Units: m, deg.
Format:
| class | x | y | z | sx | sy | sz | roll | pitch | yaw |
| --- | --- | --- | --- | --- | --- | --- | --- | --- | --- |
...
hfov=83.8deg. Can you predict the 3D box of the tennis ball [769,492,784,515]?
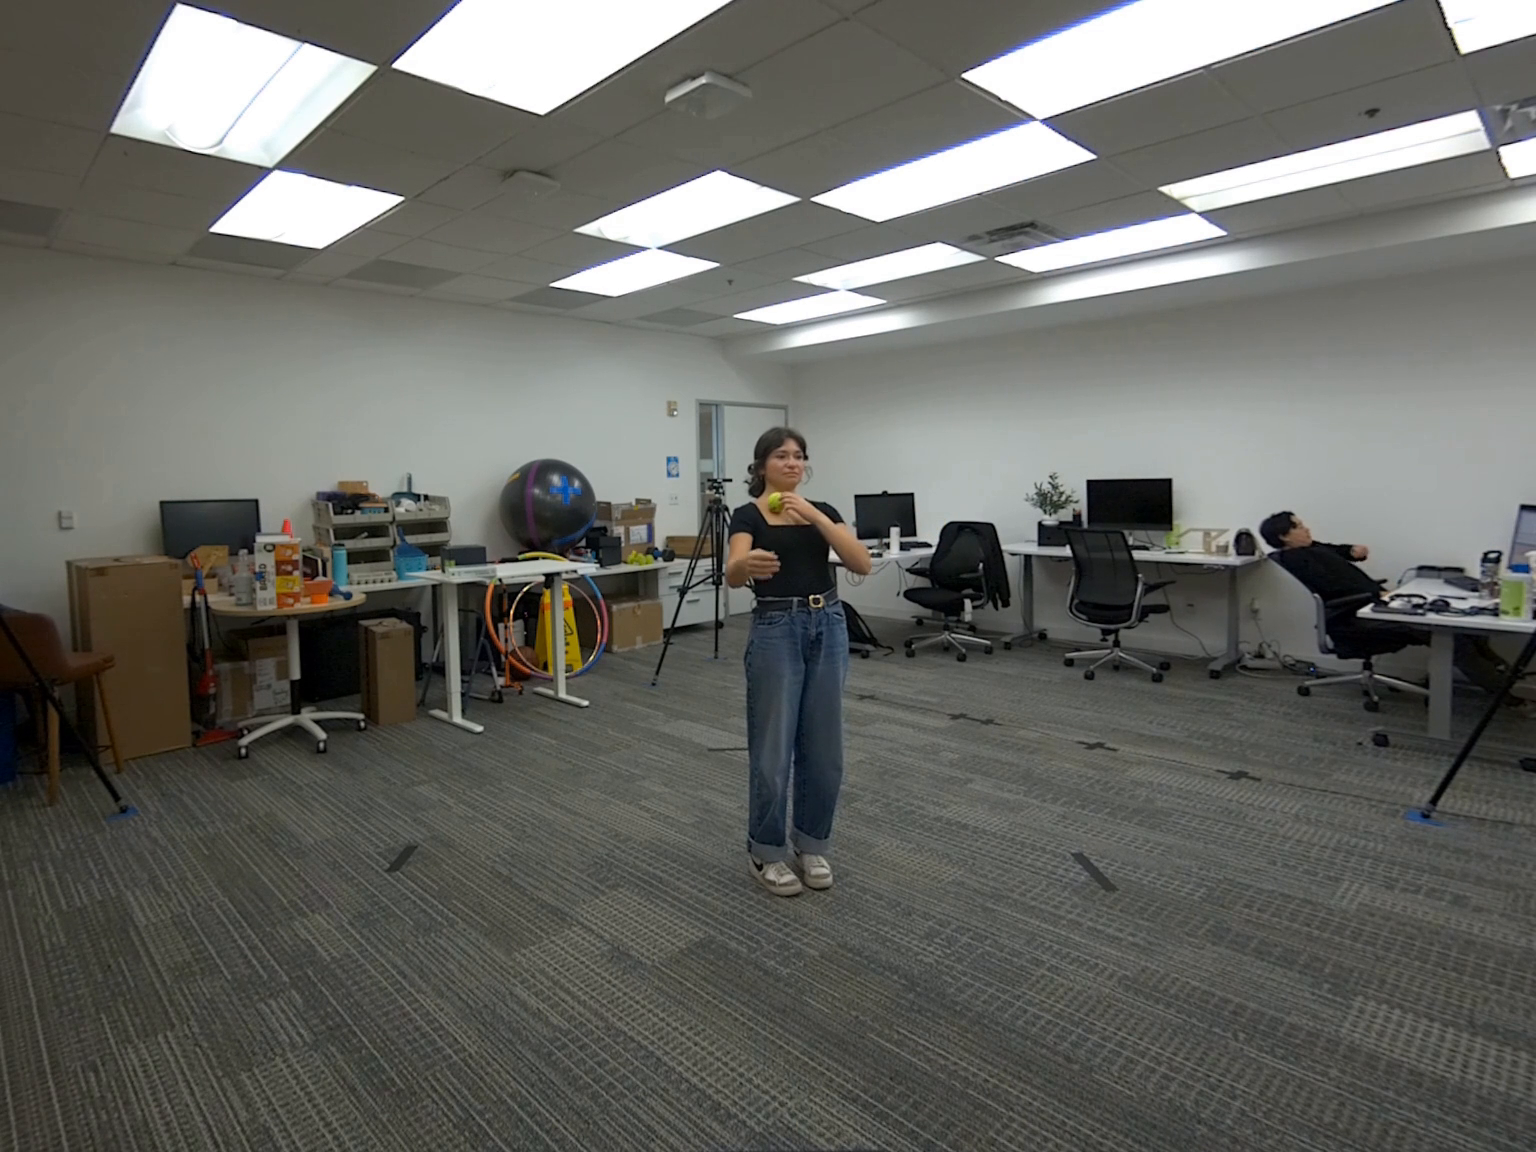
| class | x | y | z | sx | sy | sz | roll | pitch | yaw |
| --- | --- | --- | --- | --- | --- | --- | --- | --- | --- |
| tennis ball | 0.069 | -0.255 | 2.930 | 0.066 | 0.066 | 0.067 | -1 | 5 | -2 |
